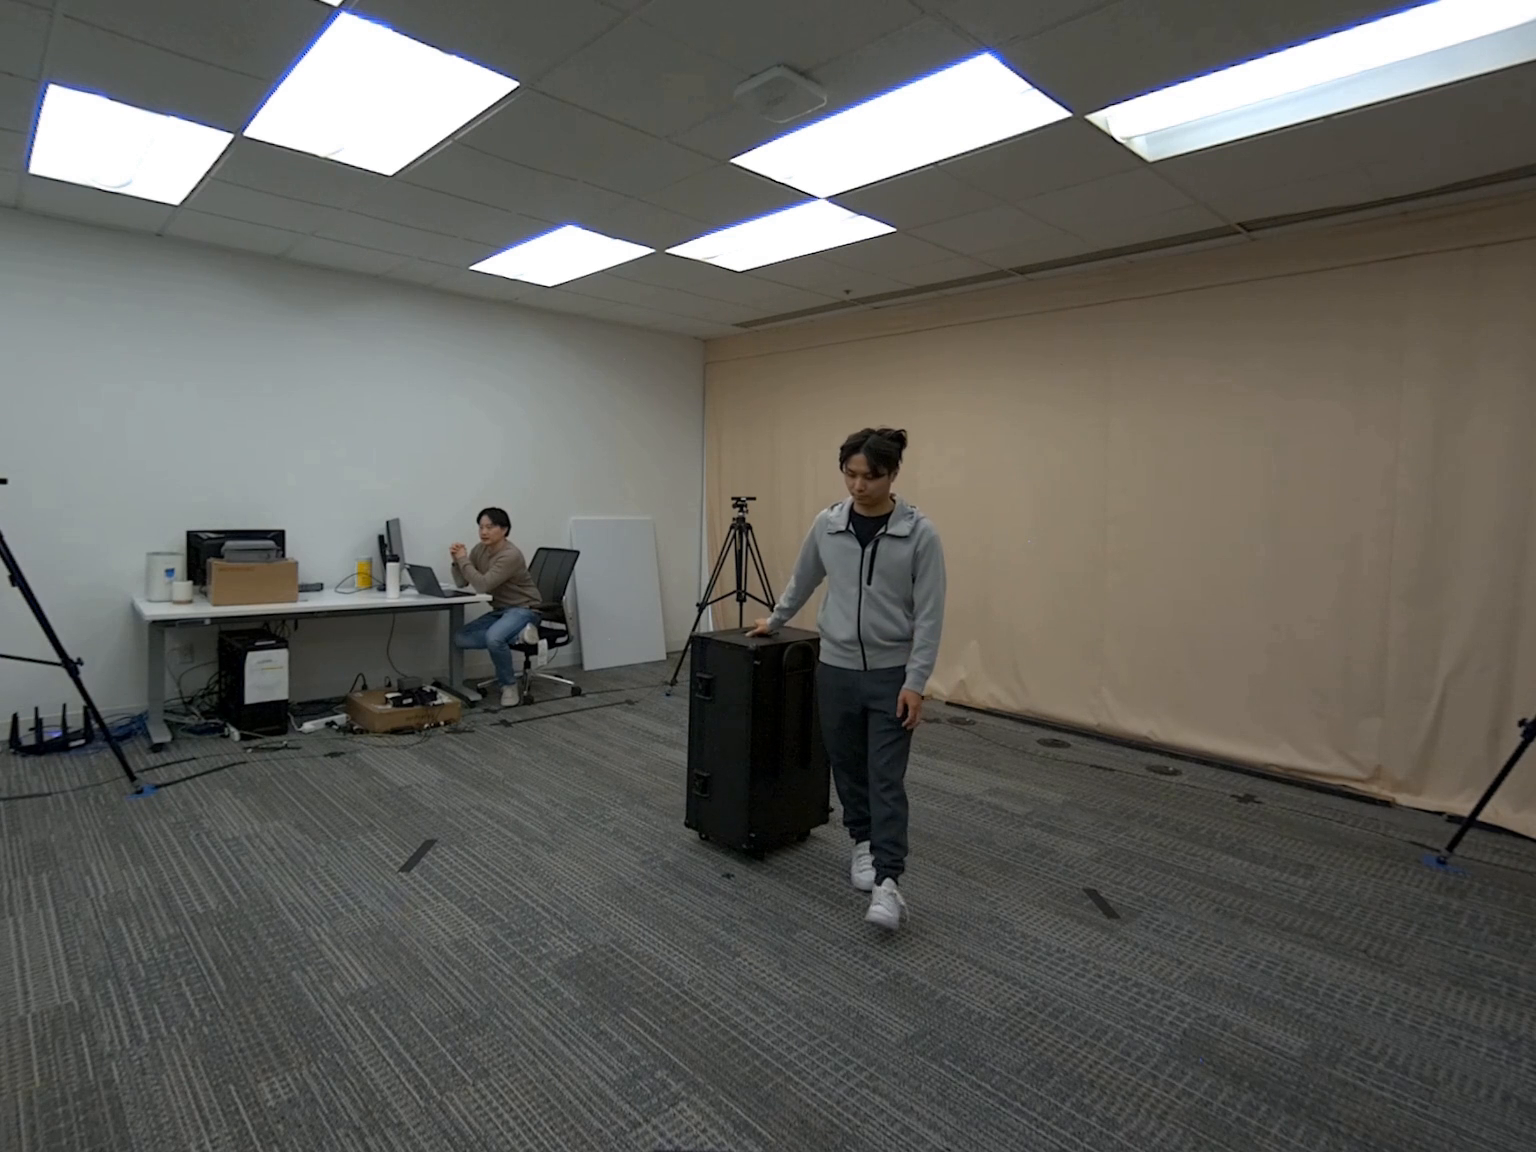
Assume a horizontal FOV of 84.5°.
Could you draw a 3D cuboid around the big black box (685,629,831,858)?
[{"bbox_3d":[-0.026,0.660,3.401,0.509,0.859,0.407,-2,6,-45],"label":"big black box"}]
